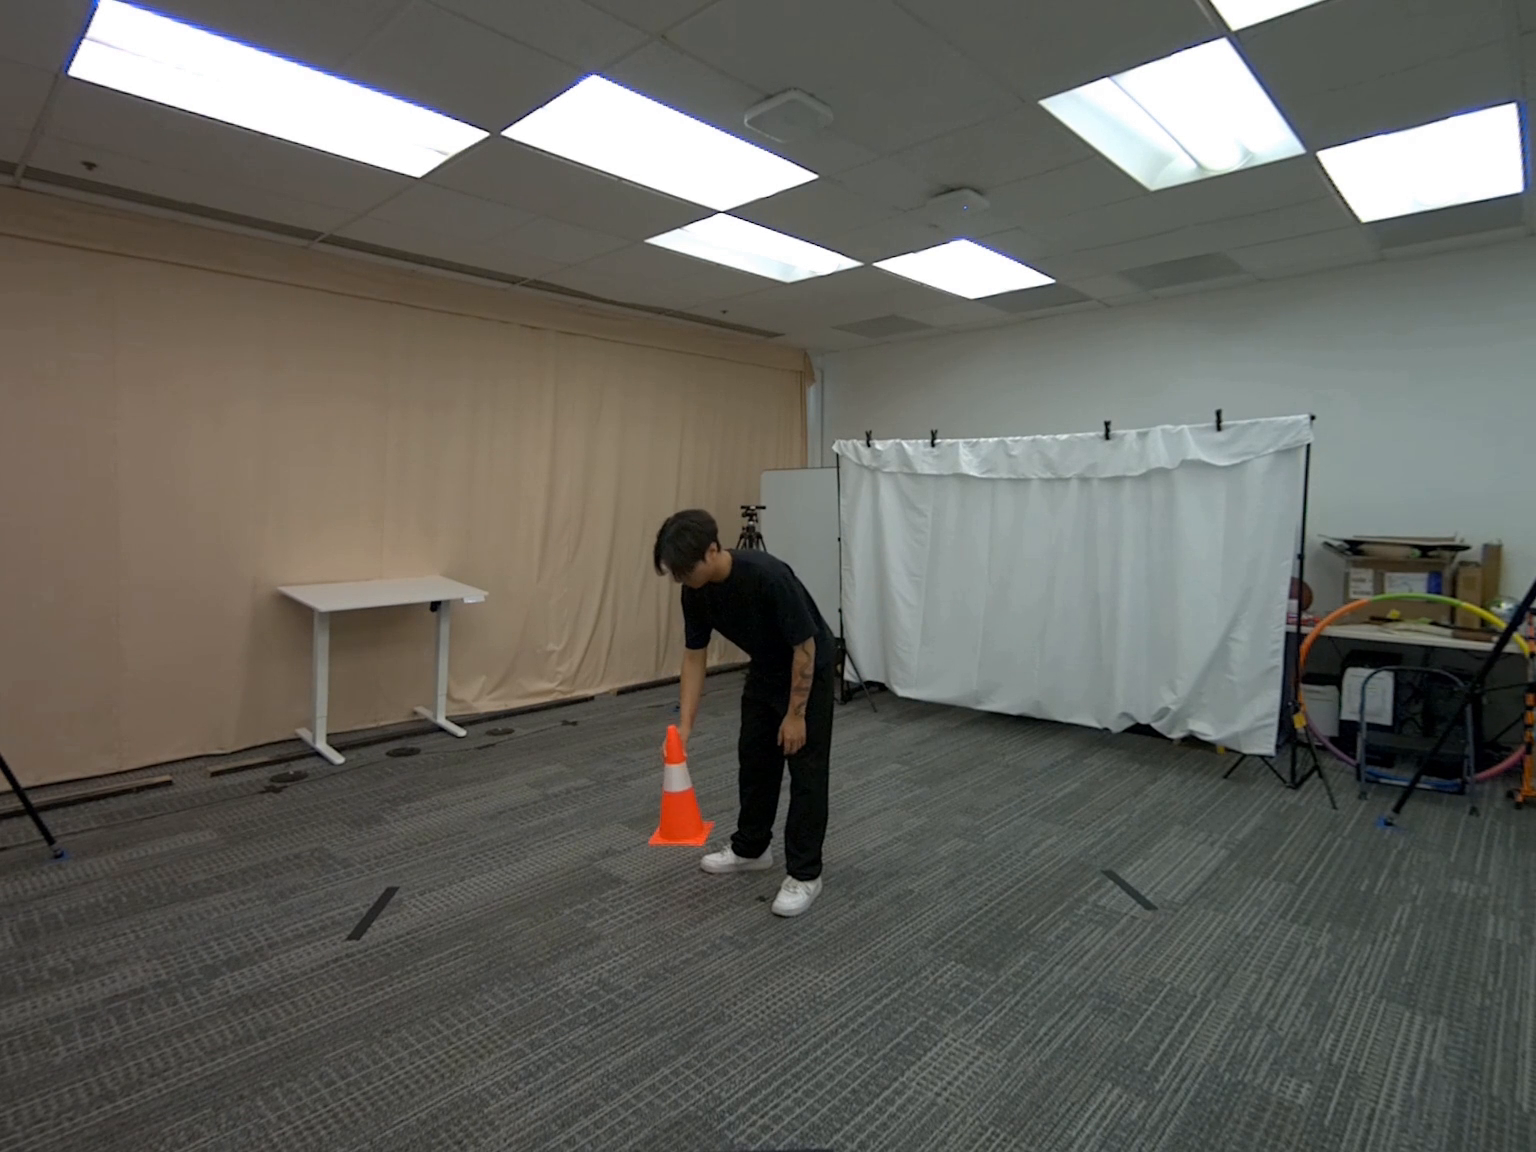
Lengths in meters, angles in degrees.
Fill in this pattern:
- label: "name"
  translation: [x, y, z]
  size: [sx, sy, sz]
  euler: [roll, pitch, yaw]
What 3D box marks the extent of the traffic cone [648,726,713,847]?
- label: "traffic cone"
  translation: [-0.323, 0.722, 2.944]
  size: [0.208, 0.383, 0.200]
  euler: [-6, 3, 25]
